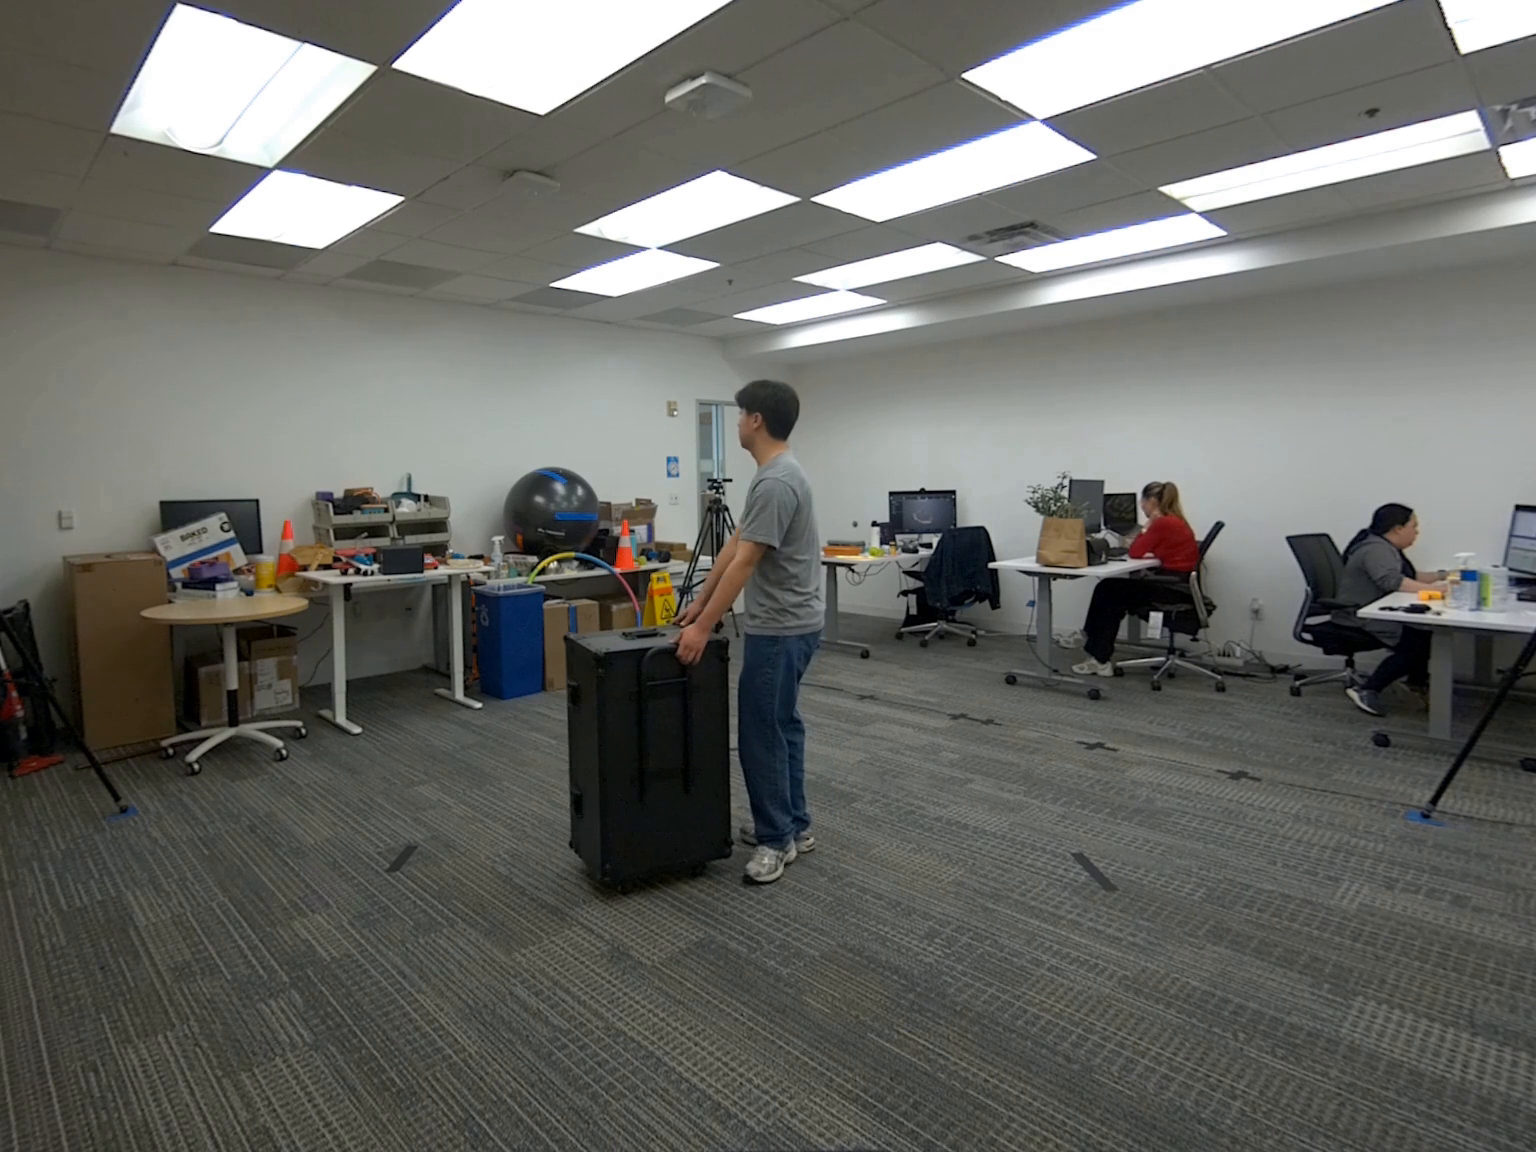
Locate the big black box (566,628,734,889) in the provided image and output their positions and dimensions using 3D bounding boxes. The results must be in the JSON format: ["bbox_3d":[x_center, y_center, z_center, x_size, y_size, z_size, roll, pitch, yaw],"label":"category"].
[{"bbox_3d":[-0.418,0.638,3.023,0.510,0.856,0.407,-5,7,-27],"label":"big black box"}]
